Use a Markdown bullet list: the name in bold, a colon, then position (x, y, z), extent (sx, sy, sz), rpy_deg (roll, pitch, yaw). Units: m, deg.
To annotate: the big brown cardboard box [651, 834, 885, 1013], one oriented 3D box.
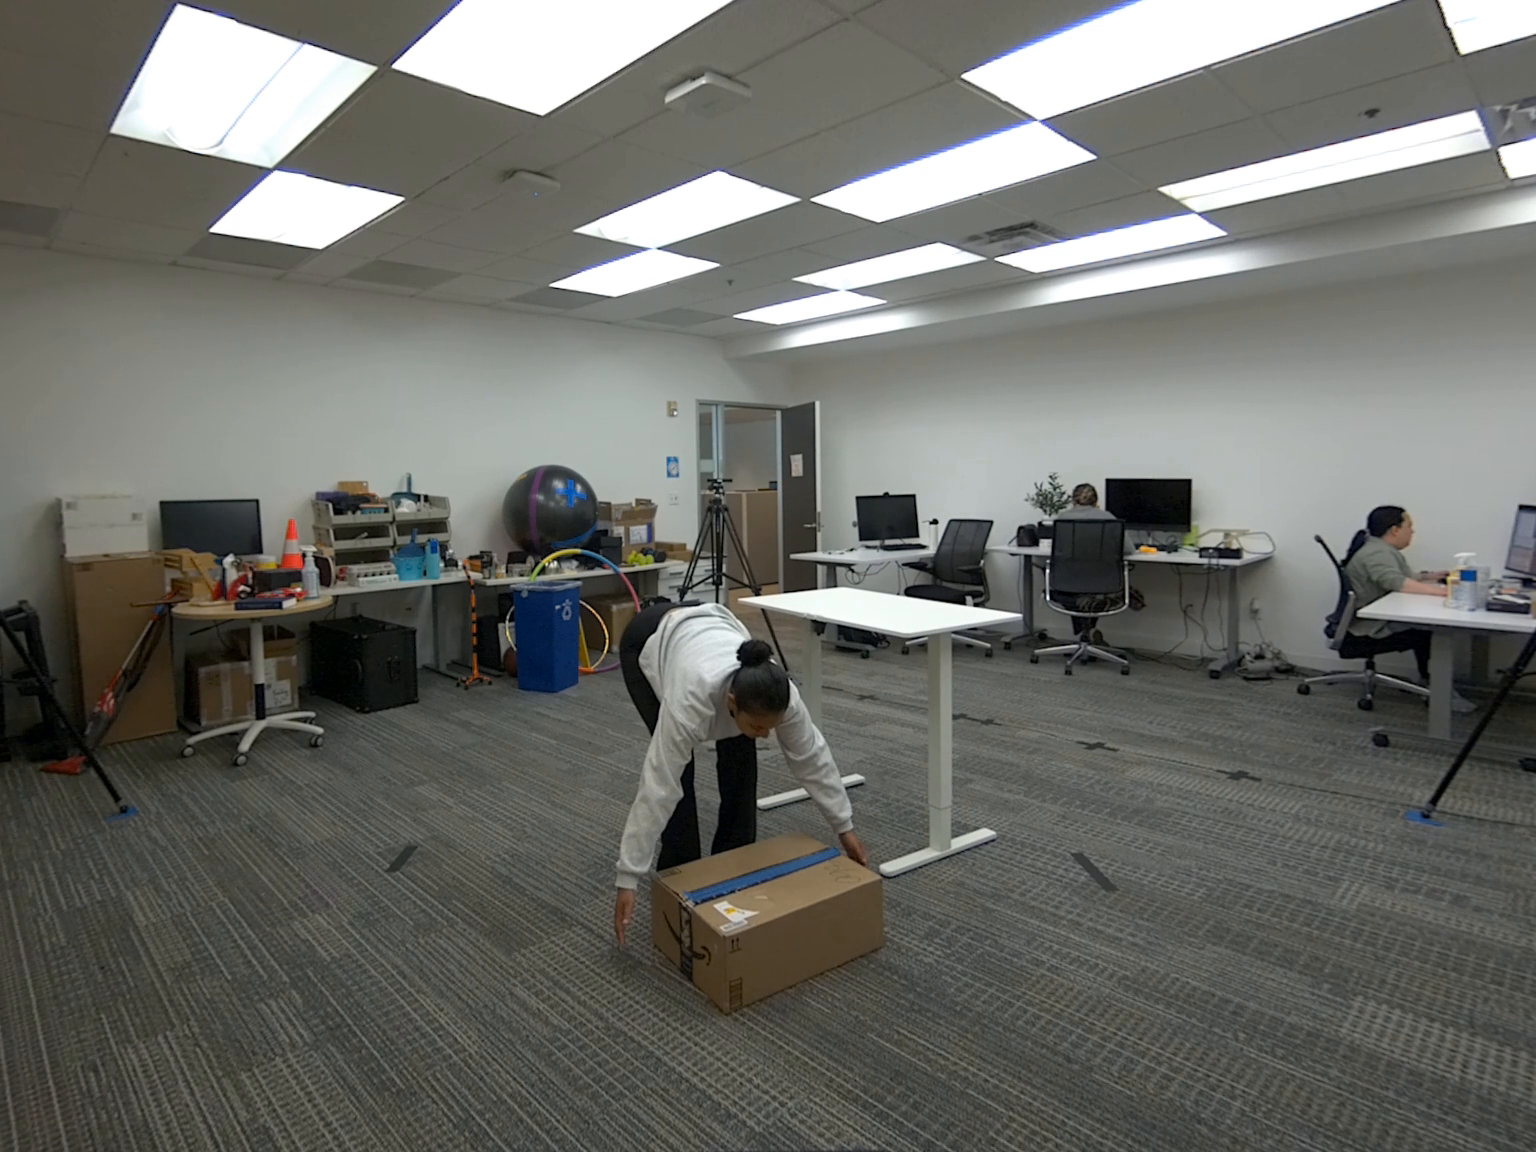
- **big brown cardboard box**: position (-0.008, 0.998, 2.548), extent (0.574, 0.232, 0.430), rpy_deg (-4, 7, -34)
